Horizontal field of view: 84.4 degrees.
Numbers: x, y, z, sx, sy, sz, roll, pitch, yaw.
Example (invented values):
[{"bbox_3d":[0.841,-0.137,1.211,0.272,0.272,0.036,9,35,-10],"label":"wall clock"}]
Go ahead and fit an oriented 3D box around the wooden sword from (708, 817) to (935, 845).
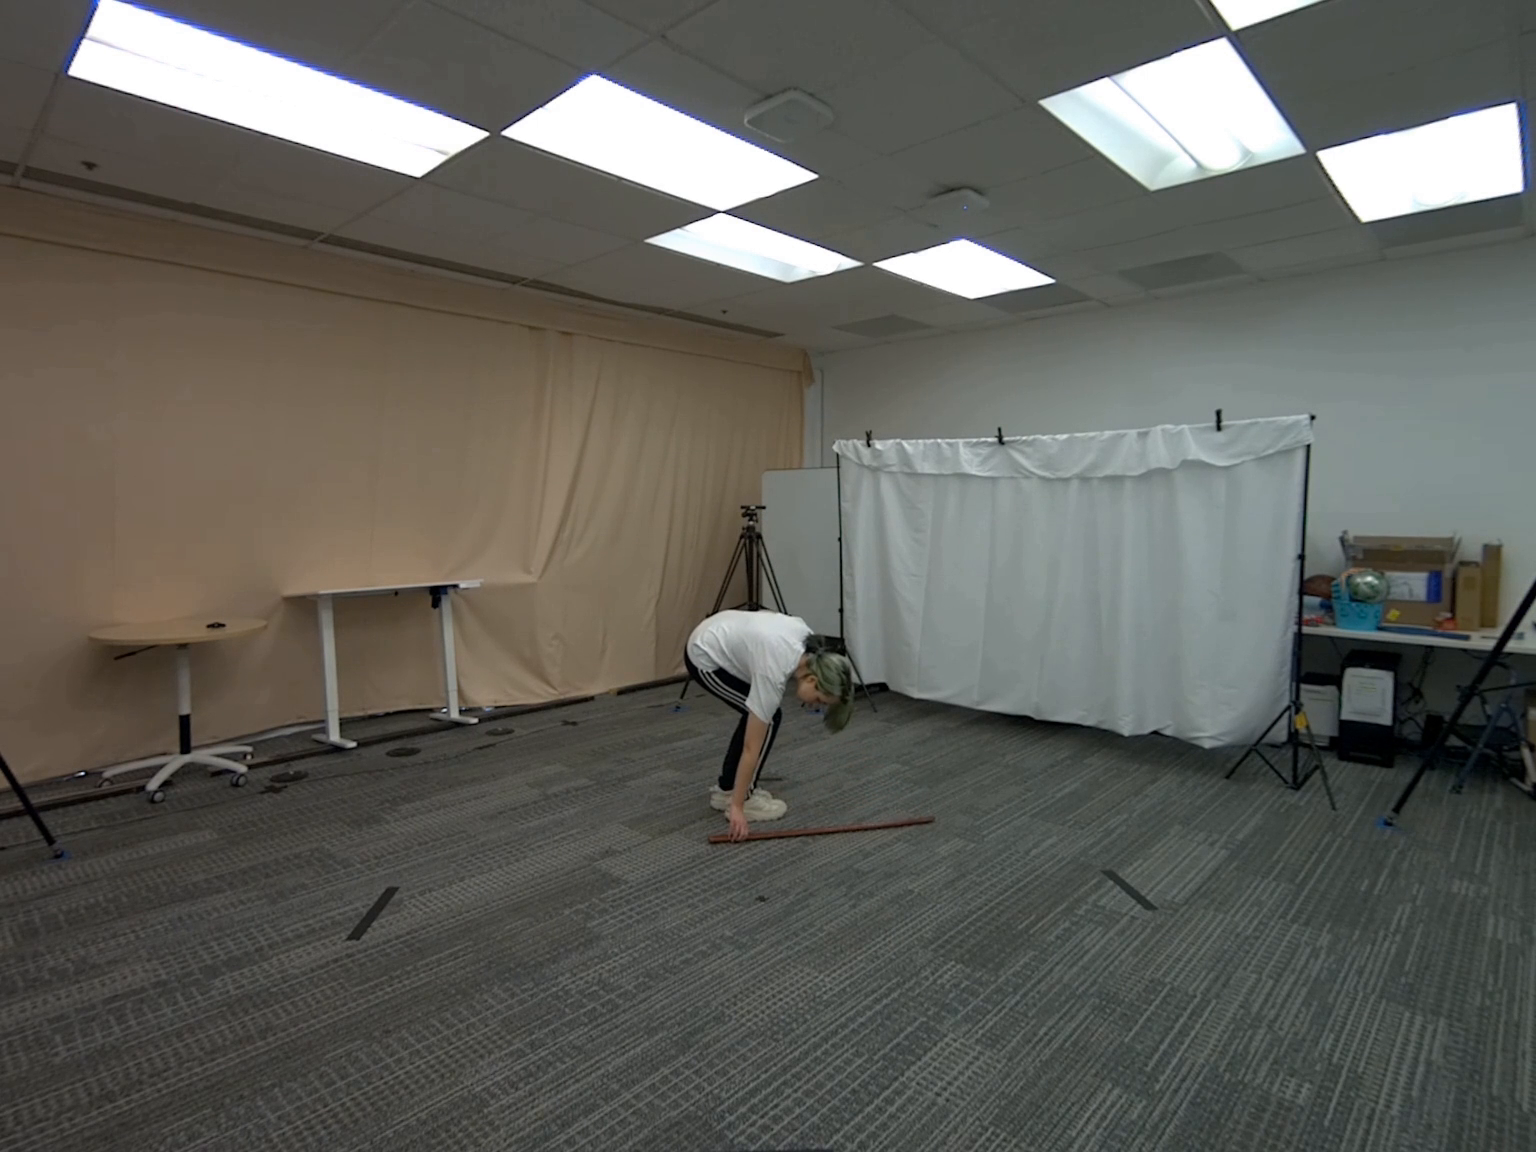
[{"bbox_3d":[0.254,1.078,3.577,1.010,0.051,0.024,-1,14,-13],"label":"wooden sword"}]
